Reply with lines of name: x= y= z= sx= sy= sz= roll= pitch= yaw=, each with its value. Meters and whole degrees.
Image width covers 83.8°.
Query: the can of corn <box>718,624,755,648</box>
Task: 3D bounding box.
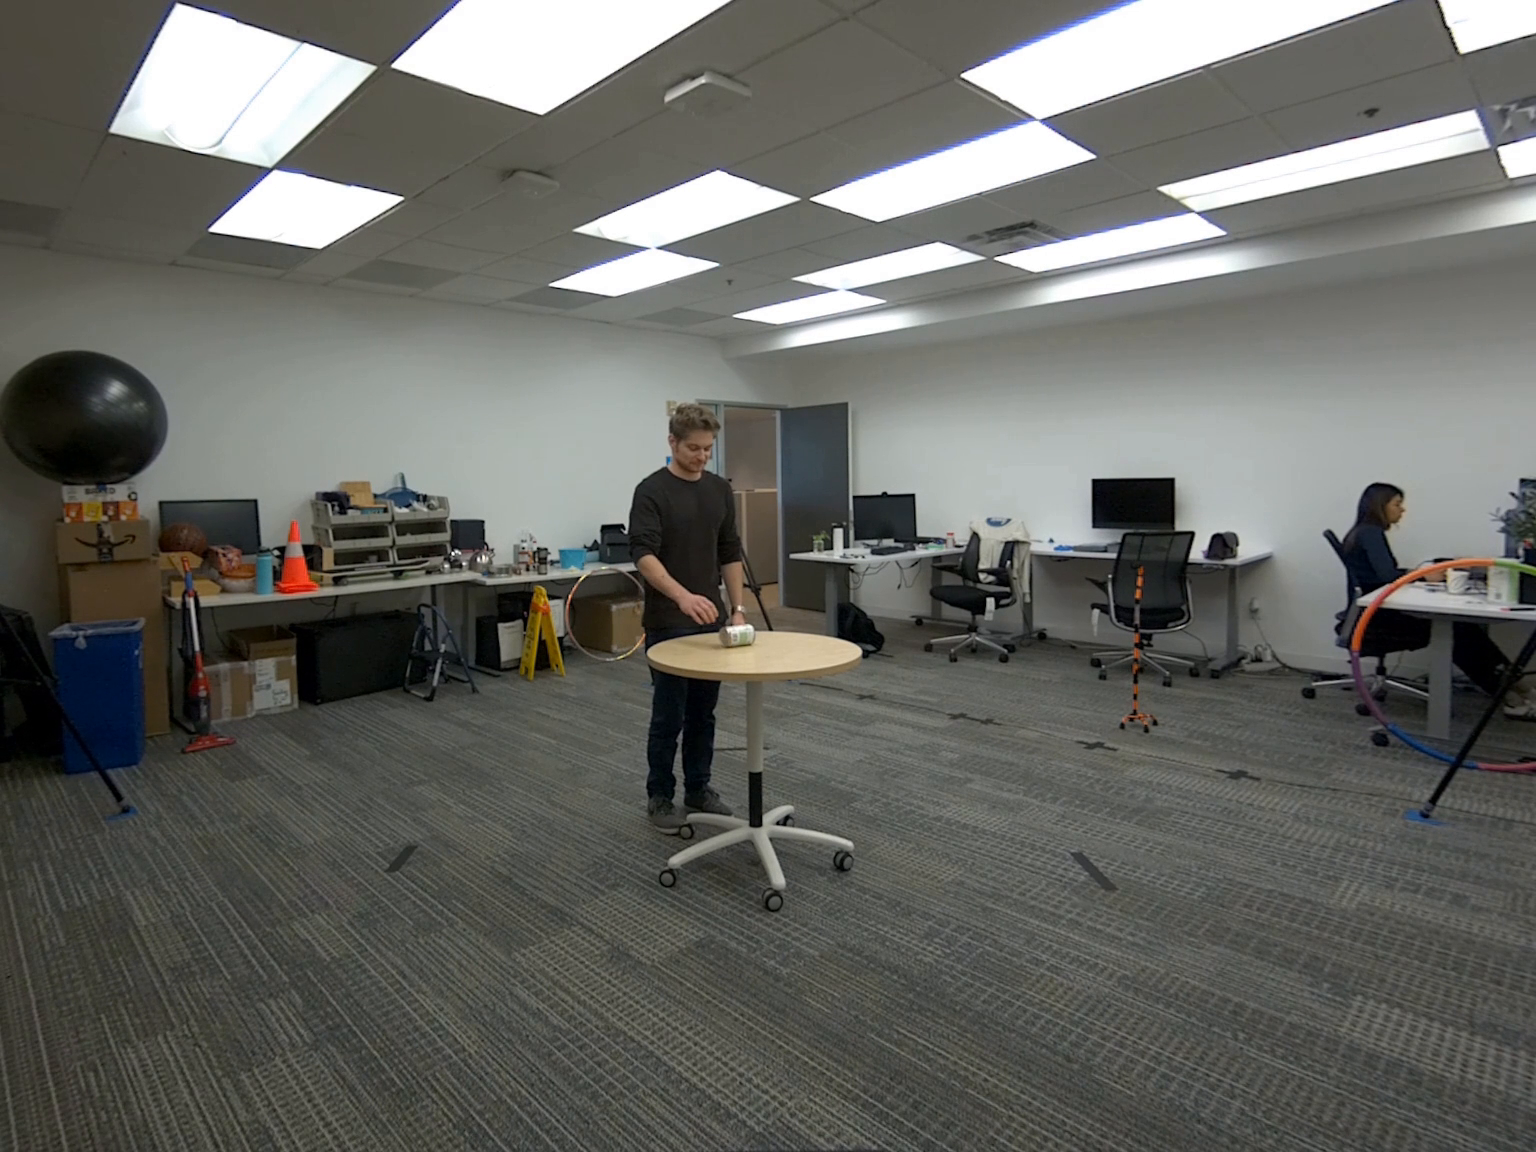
can of corn: x=-0.112 y=0.220 z=3.135 sx=0.108 sy=0.074 sz=0.076 roll=-5 pitch=6 yaw=-35
